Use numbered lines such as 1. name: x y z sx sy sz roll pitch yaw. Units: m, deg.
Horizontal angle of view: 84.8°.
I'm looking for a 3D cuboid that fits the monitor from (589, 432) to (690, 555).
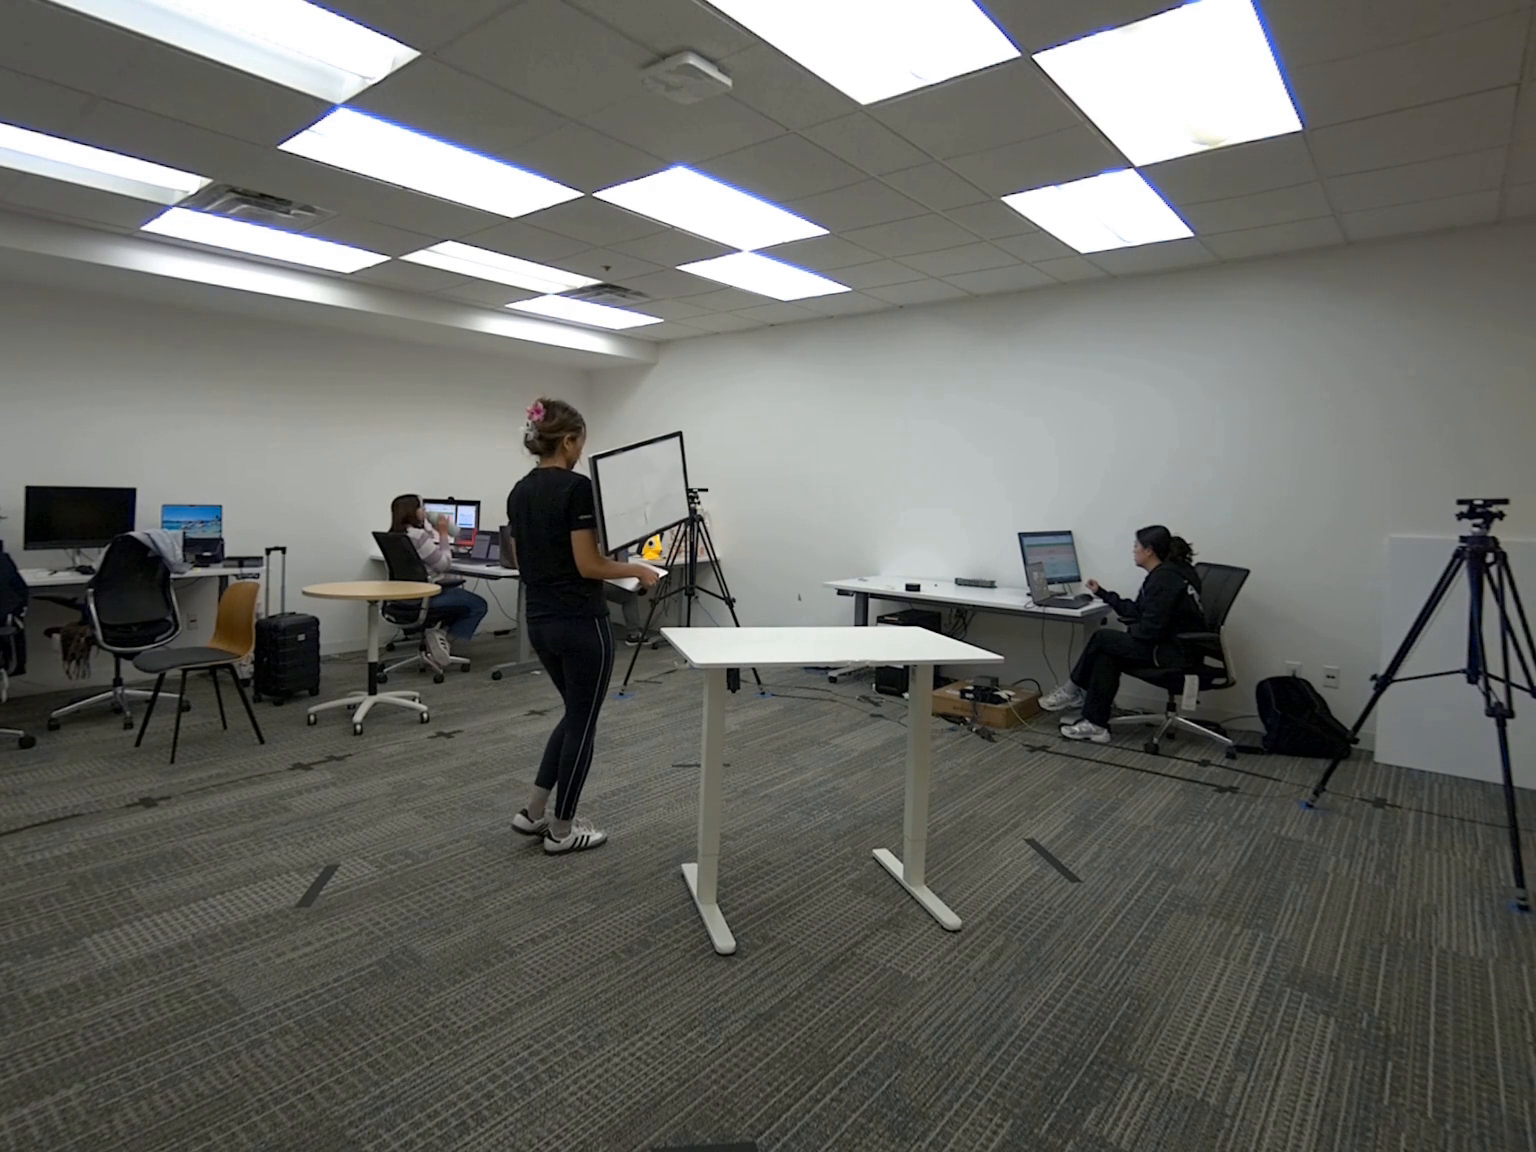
1. monitor: -0.511 -0.249 3.232 0.192 0.514 0.533 14 23 23
